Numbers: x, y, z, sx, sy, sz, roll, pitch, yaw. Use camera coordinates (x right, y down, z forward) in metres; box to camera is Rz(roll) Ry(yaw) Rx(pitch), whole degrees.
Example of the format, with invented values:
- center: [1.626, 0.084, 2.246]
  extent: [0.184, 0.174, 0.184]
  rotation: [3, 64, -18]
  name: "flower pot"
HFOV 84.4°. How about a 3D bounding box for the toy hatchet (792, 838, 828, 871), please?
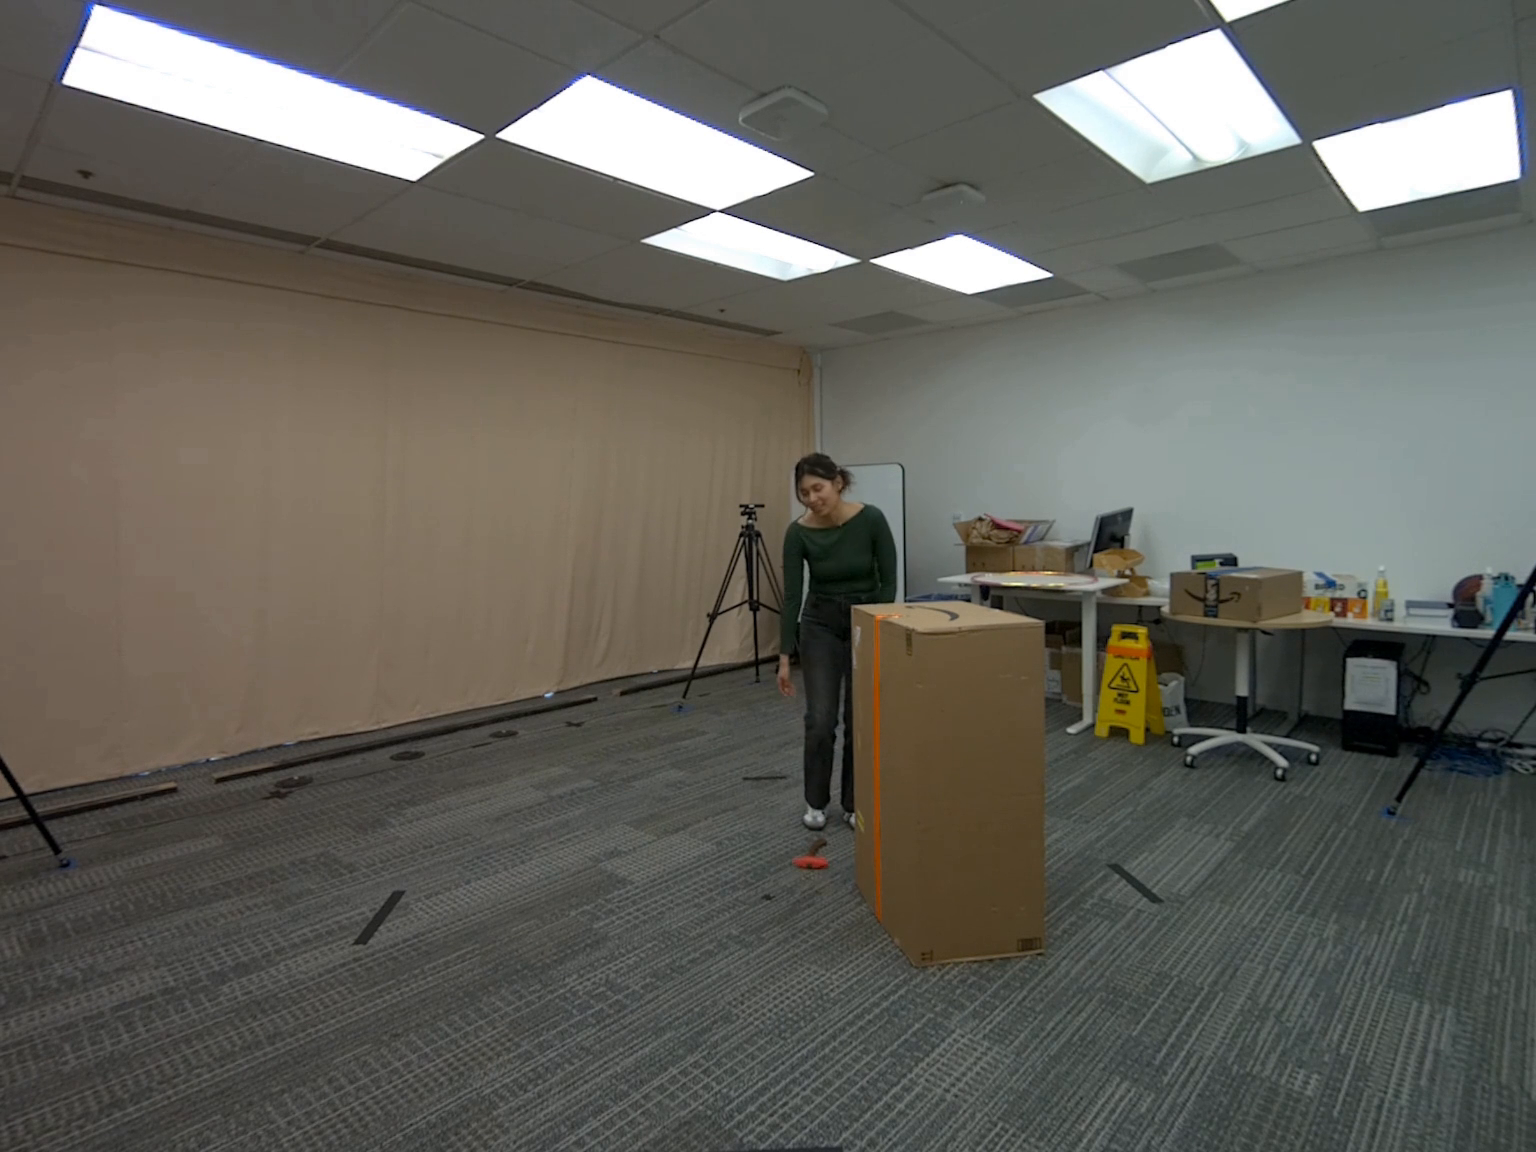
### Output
- center: [0.204, 1.087, 3.315]
  extent: [0.134, 0.029, 0.263]
  rotation: [-1, 3, 27]
  name: "toy hatchet"
